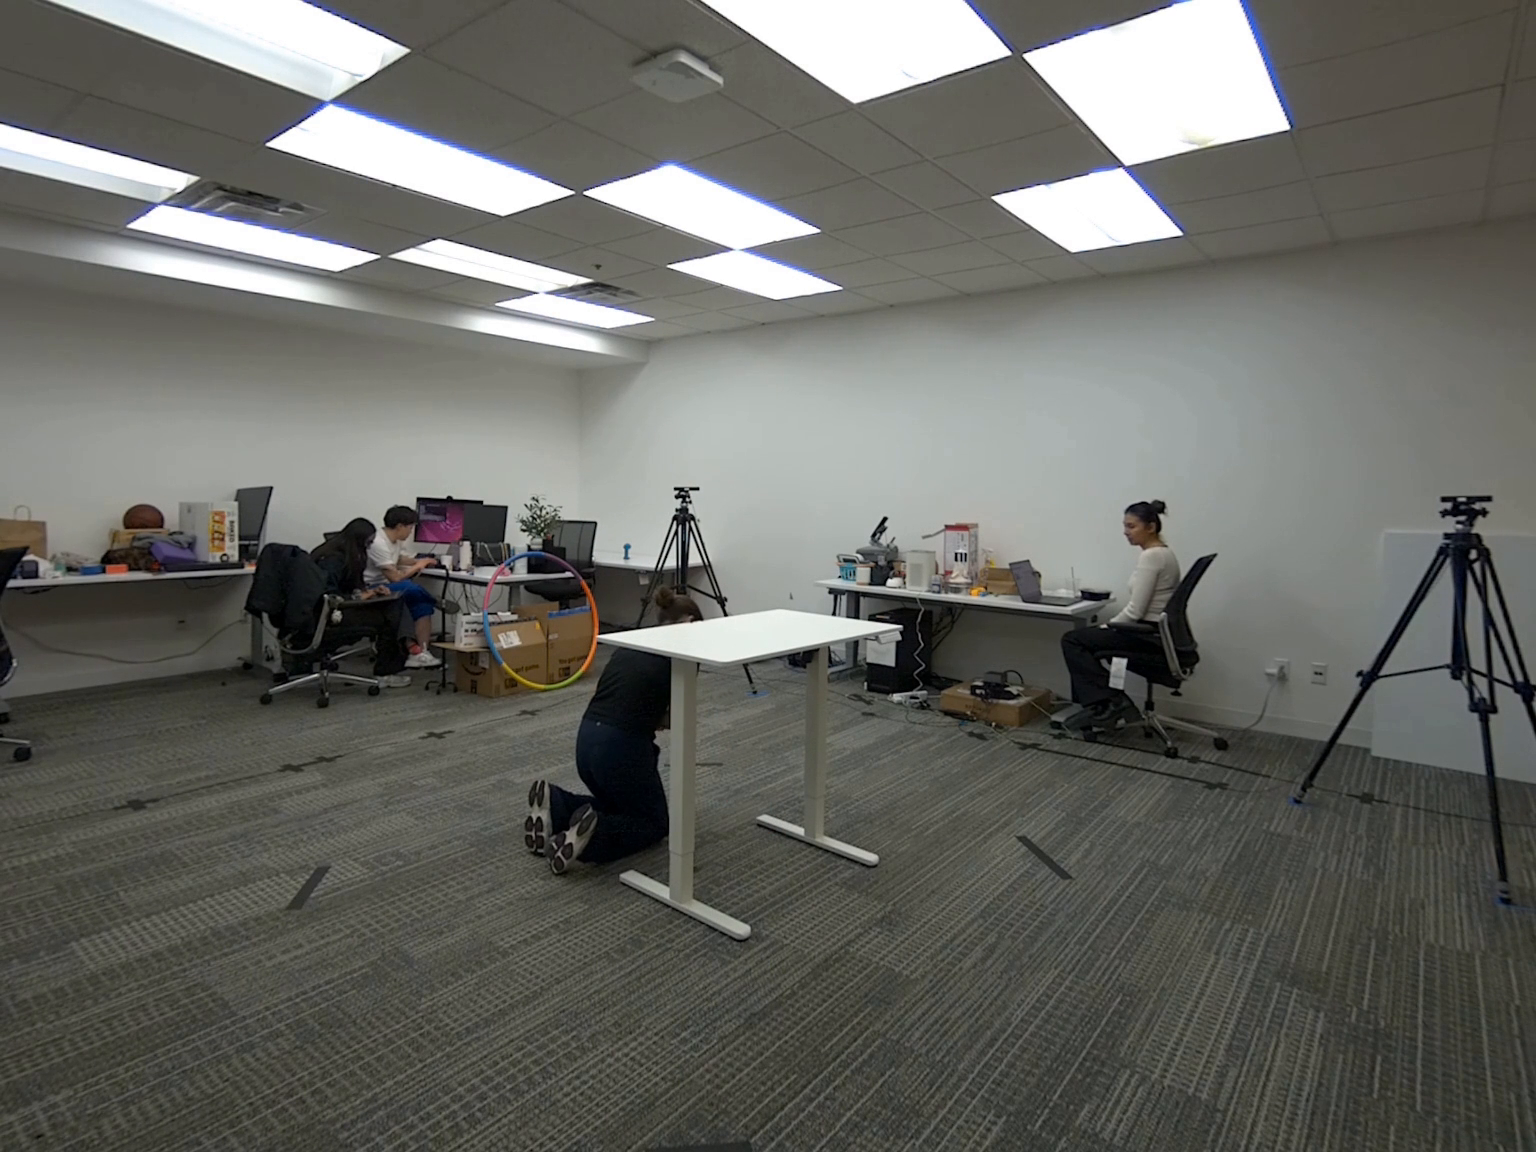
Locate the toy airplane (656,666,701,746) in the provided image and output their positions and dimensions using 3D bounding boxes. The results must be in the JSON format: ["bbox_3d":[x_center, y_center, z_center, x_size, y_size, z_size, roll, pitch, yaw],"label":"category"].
[{"bbox_3d":[-0.487,0.546,3.633,0.158,0.248,0.259,-28,15,50],"label":"toy airplane"}]
